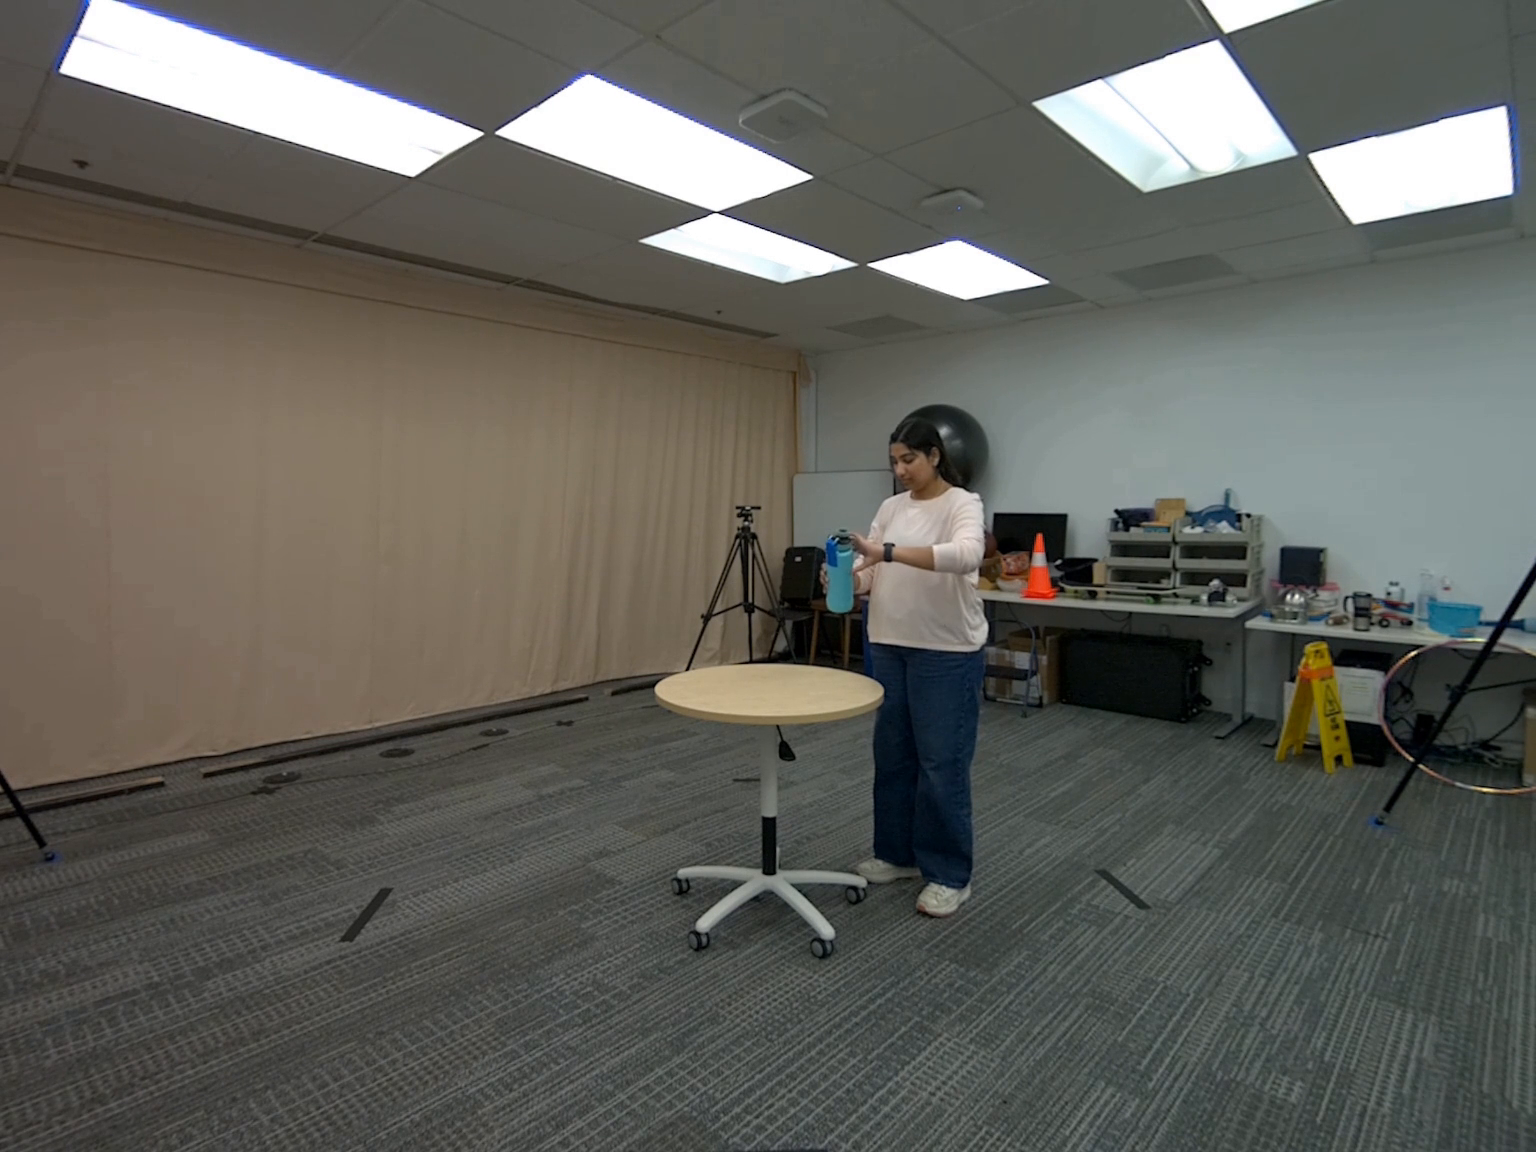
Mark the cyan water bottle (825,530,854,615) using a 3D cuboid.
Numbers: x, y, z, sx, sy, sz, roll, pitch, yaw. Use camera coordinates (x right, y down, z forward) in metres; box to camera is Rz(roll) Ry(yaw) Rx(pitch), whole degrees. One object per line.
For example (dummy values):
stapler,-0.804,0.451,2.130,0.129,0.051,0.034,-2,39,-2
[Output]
cyan water bottle,0.249,-0.017,2.815,0.092,0.278,0.094,-5,26,0
